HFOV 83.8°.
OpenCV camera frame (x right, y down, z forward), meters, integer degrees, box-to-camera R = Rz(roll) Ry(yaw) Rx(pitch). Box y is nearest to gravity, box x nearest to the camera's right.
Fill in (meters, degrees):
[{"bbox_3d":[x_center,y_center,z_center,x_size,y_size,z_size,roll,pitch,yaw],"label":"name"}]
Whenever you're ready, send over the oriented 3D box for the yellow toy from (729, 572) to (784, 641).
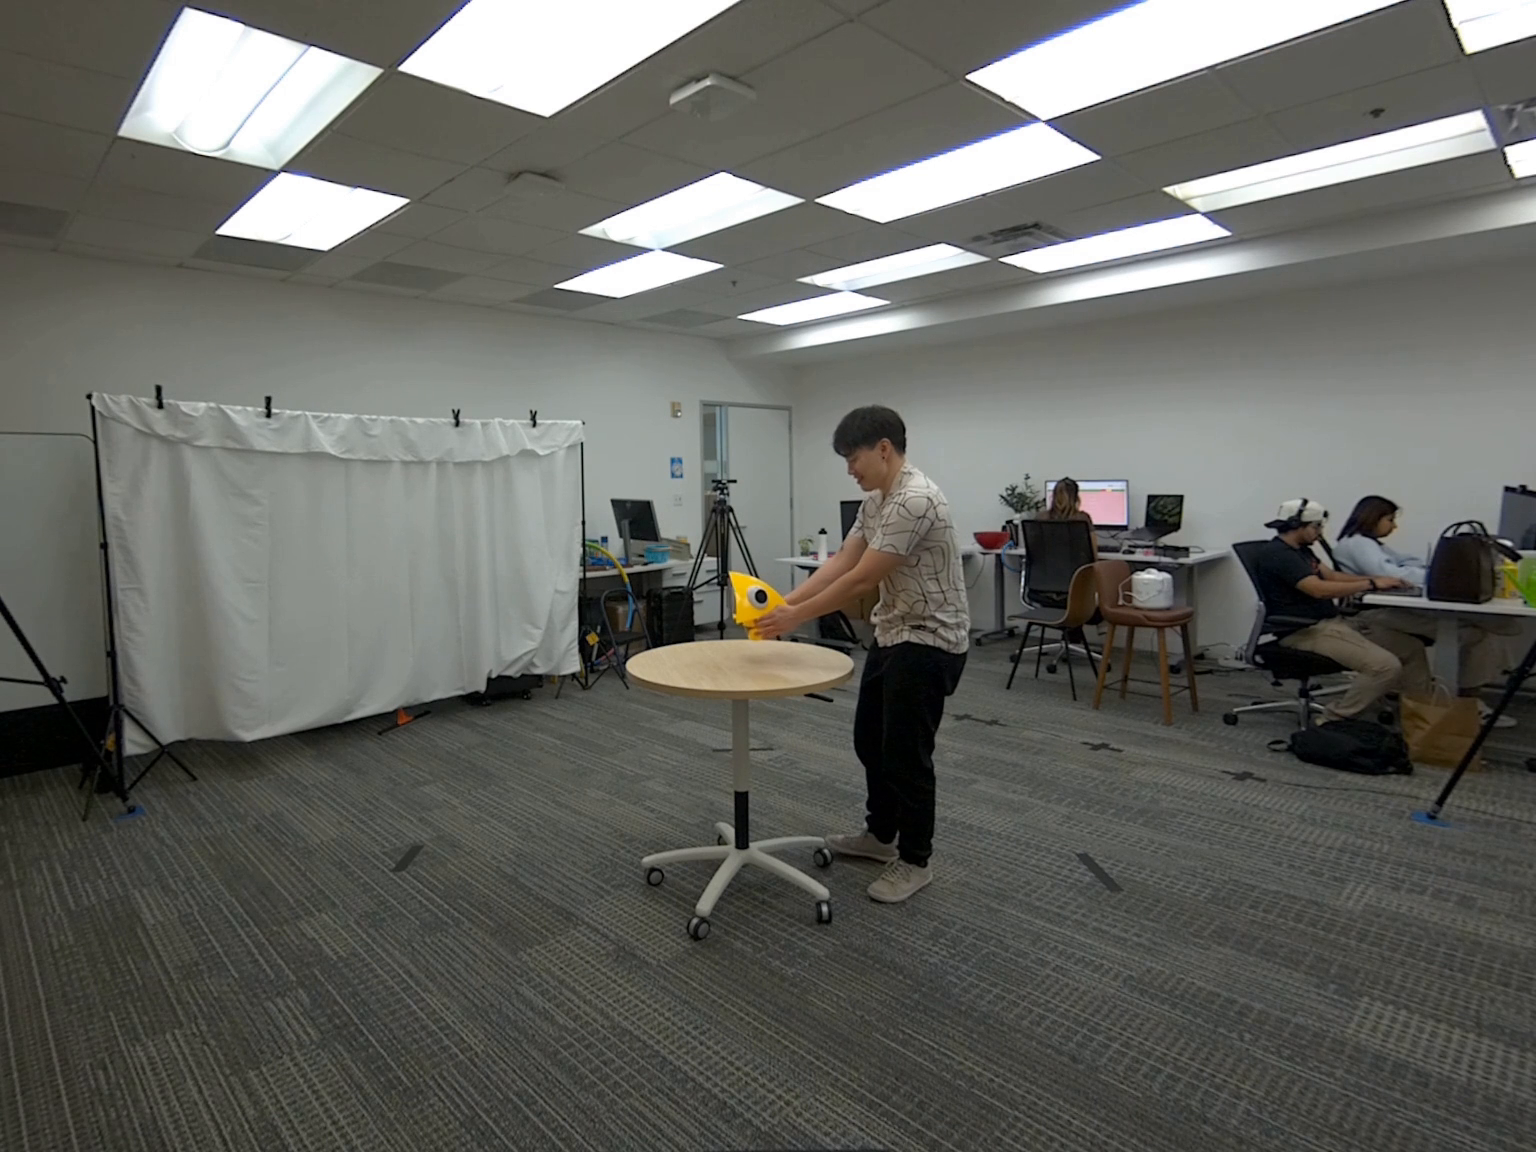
[{"bbox_3d":[-0.036,0.073,2.861,0.193,0.229,0.206,-20,6,-1],"label":"yellow toy"}]
